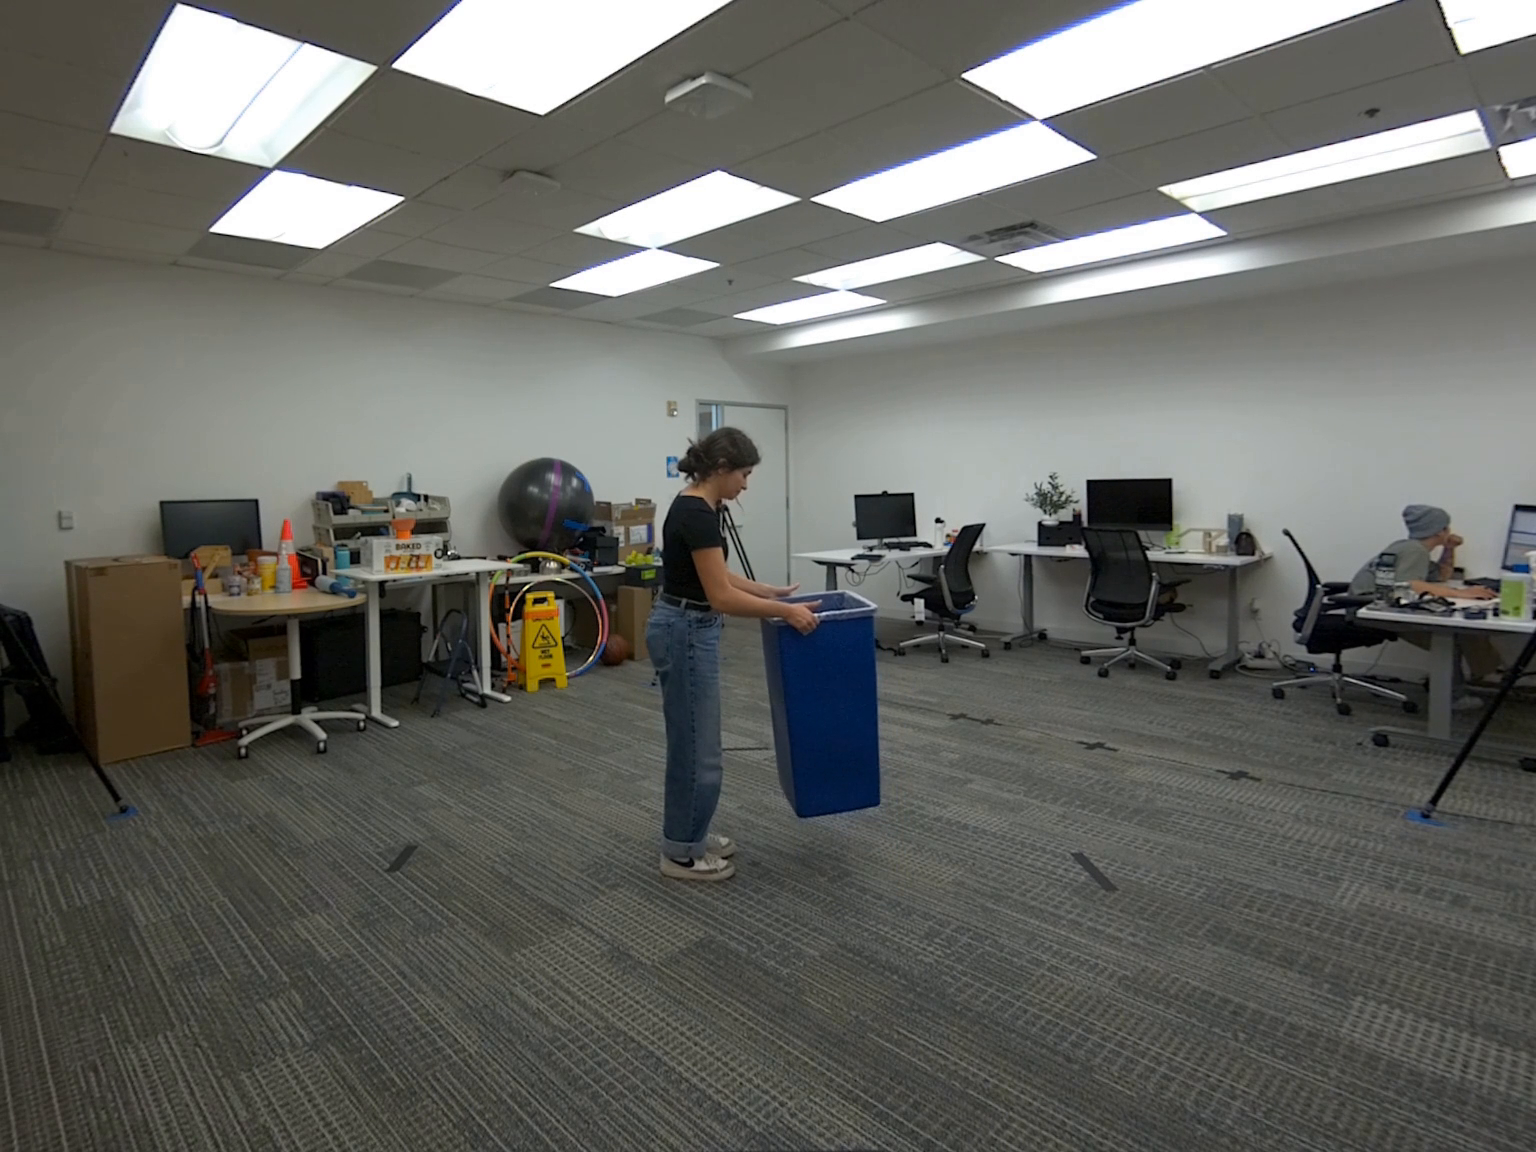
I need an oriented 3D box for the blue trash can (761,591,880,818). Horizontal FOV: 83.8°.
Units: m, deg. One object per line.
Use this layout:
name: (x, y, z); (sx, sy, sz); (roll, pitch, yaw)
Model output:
blue trash can: (0.190, 0.458, 3.072); (0.375, 0.708, 0.380); (-5, 8, -9)
